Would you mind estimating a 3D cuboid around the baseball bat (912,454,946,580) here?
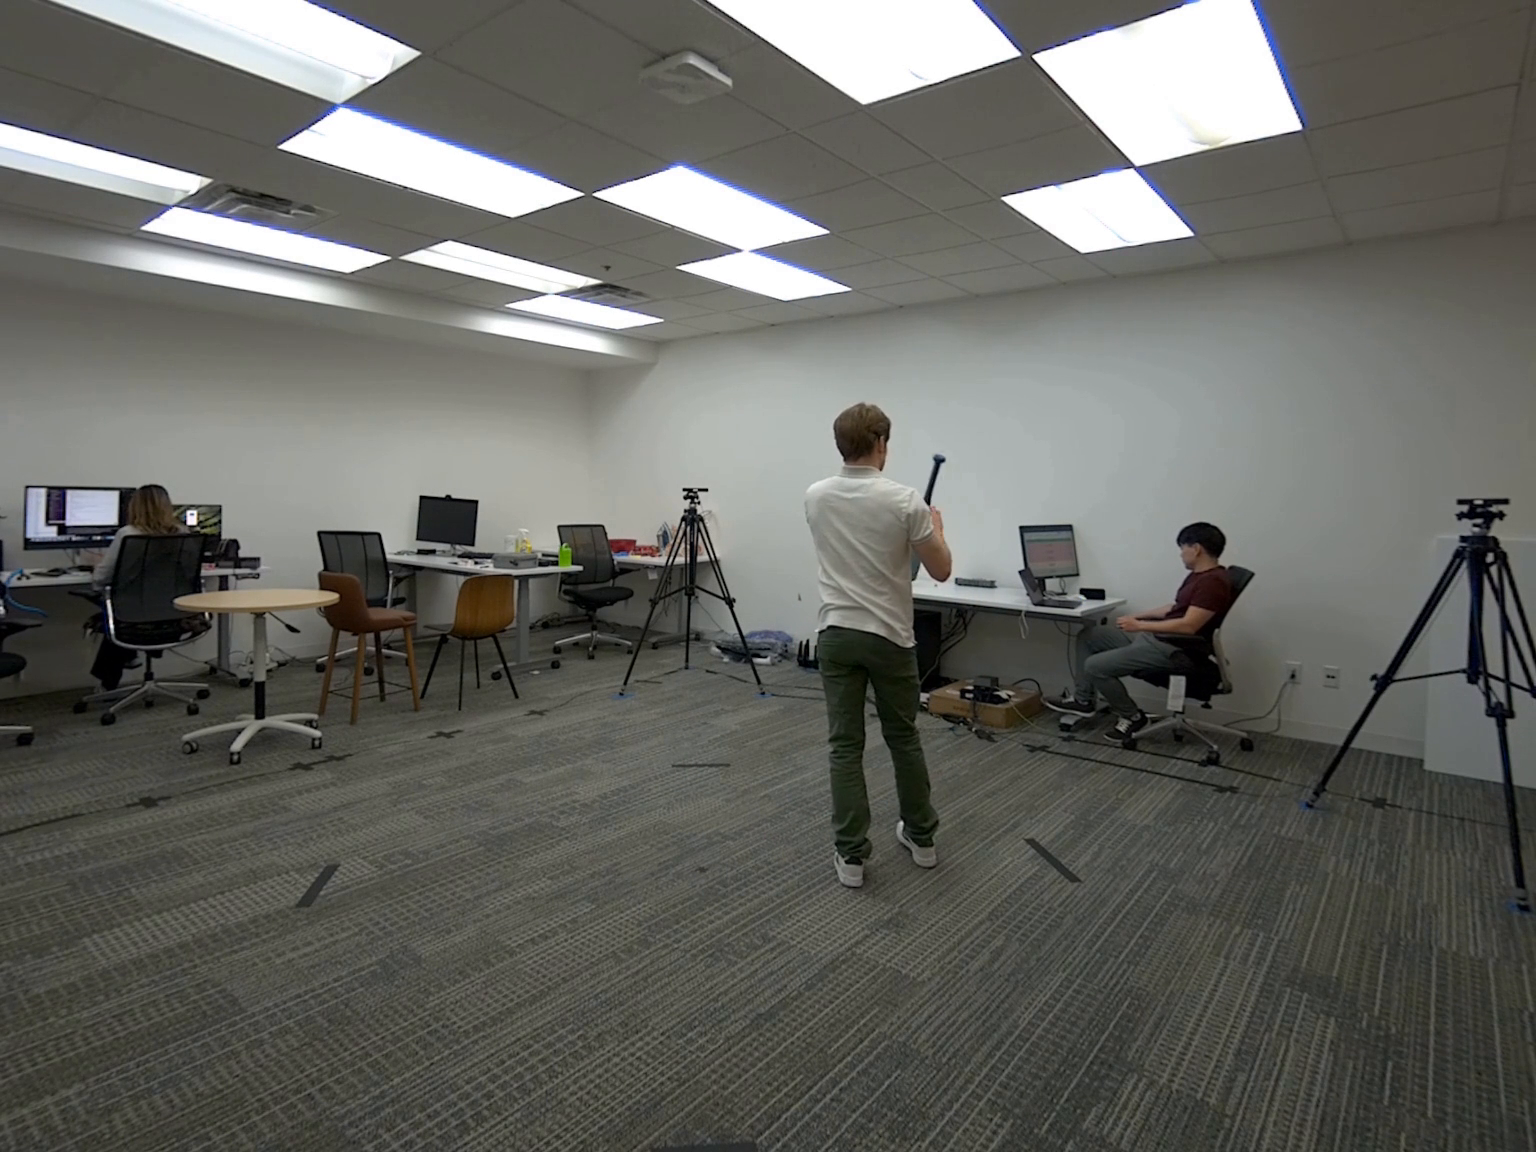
[{"bbox_3d":[0.612,-0.237,3.428,0.088,0.535,0.091,11,24,-7],"label":"baseball bat"}]
